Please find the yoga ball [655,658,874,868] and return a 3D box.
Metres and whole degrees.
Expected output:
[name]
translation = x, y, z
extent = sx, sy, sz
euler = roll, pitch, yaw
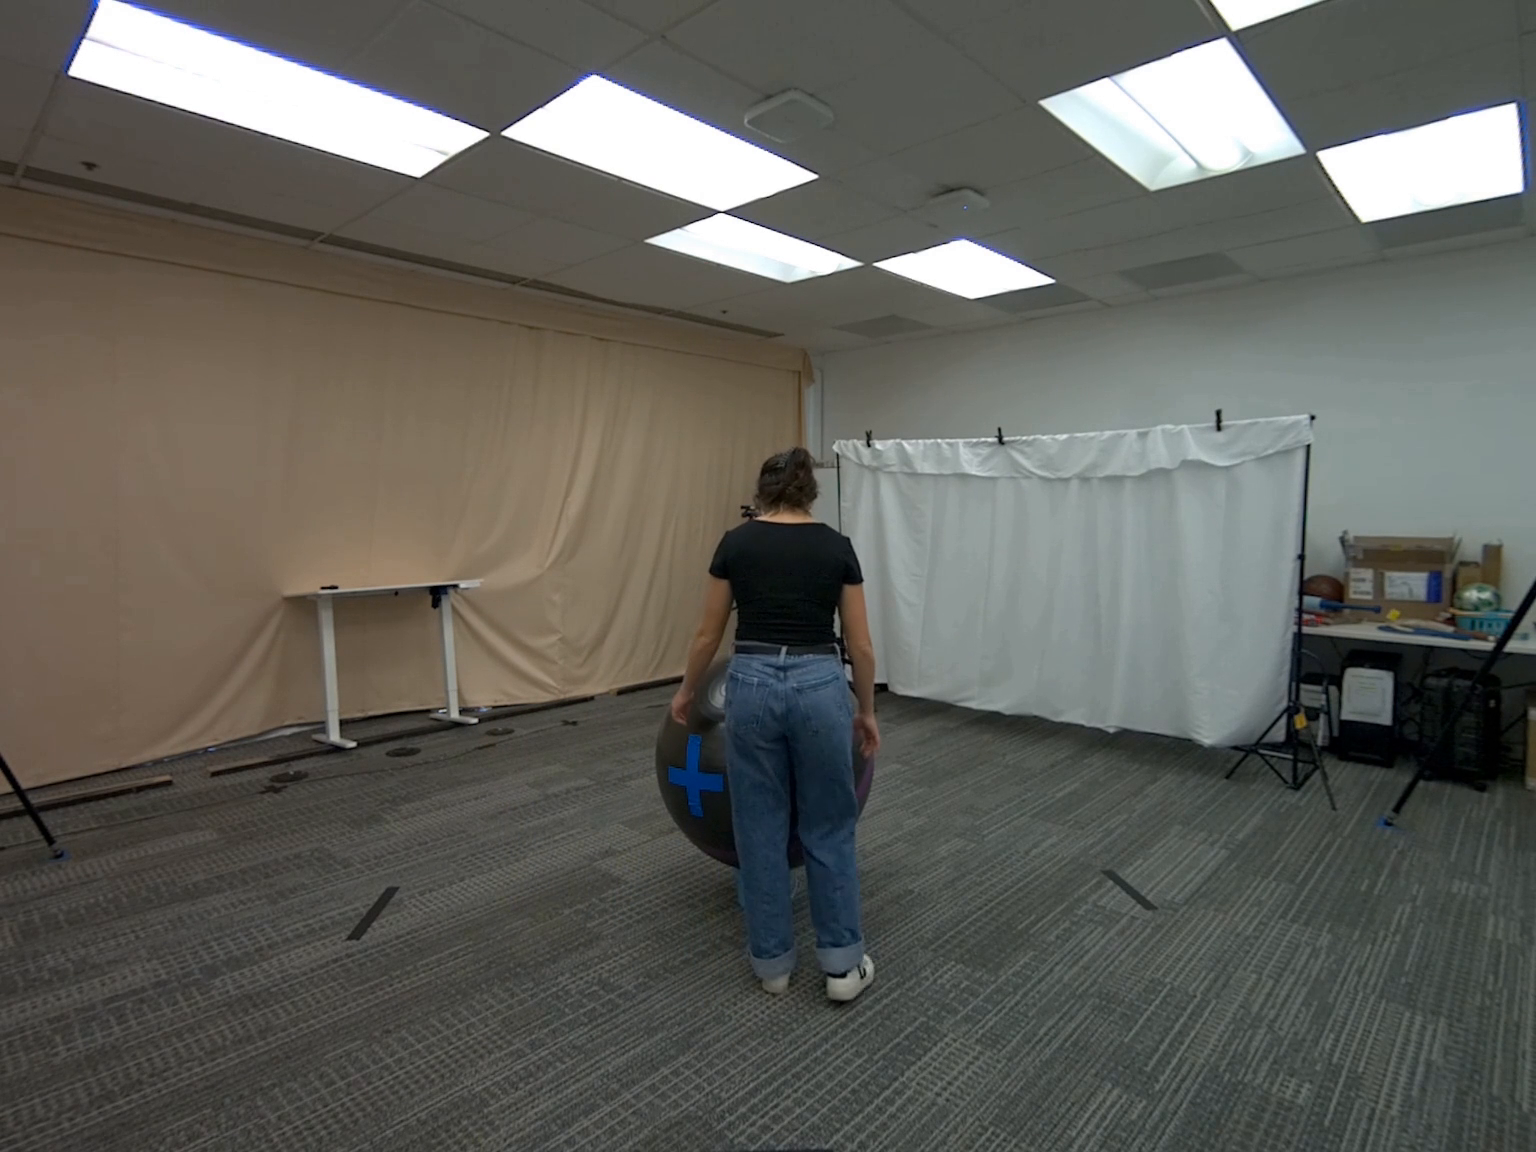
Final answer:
[yoga ball]
translation = -0.011, 0.632, 2.952
extent = 0.757, 0.756, 0.760
euler = 0, 4, -2
